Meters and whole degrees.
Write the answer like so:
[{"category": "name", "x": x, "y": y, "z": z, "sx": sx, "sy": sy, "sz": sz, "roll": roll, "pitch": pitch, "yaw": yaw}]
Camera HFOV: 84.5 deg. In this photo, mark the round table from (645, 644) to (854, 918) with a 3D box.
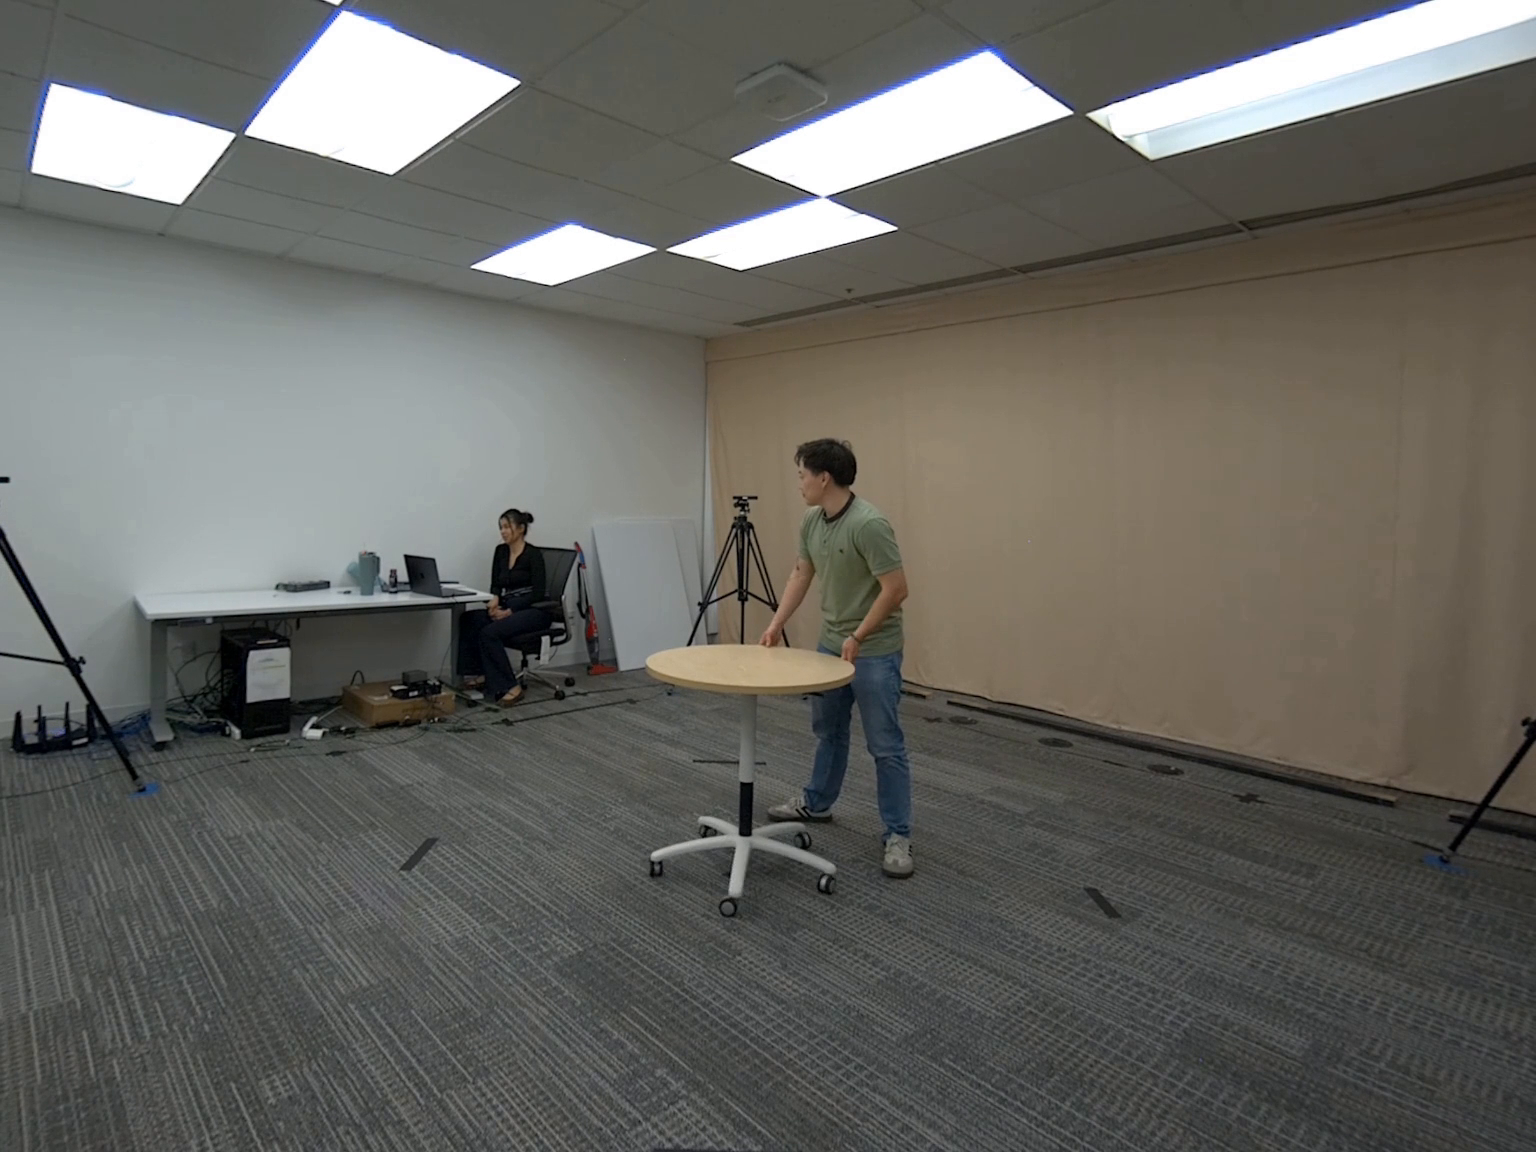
[{"category": "round table", "x": -0.078, "y": 0.714, "z": 3.112, "sx": 0.763, "sy": 0.792, "sz": 0.767, "roll": 2, "pitch": 4, "yaw": -1}]
